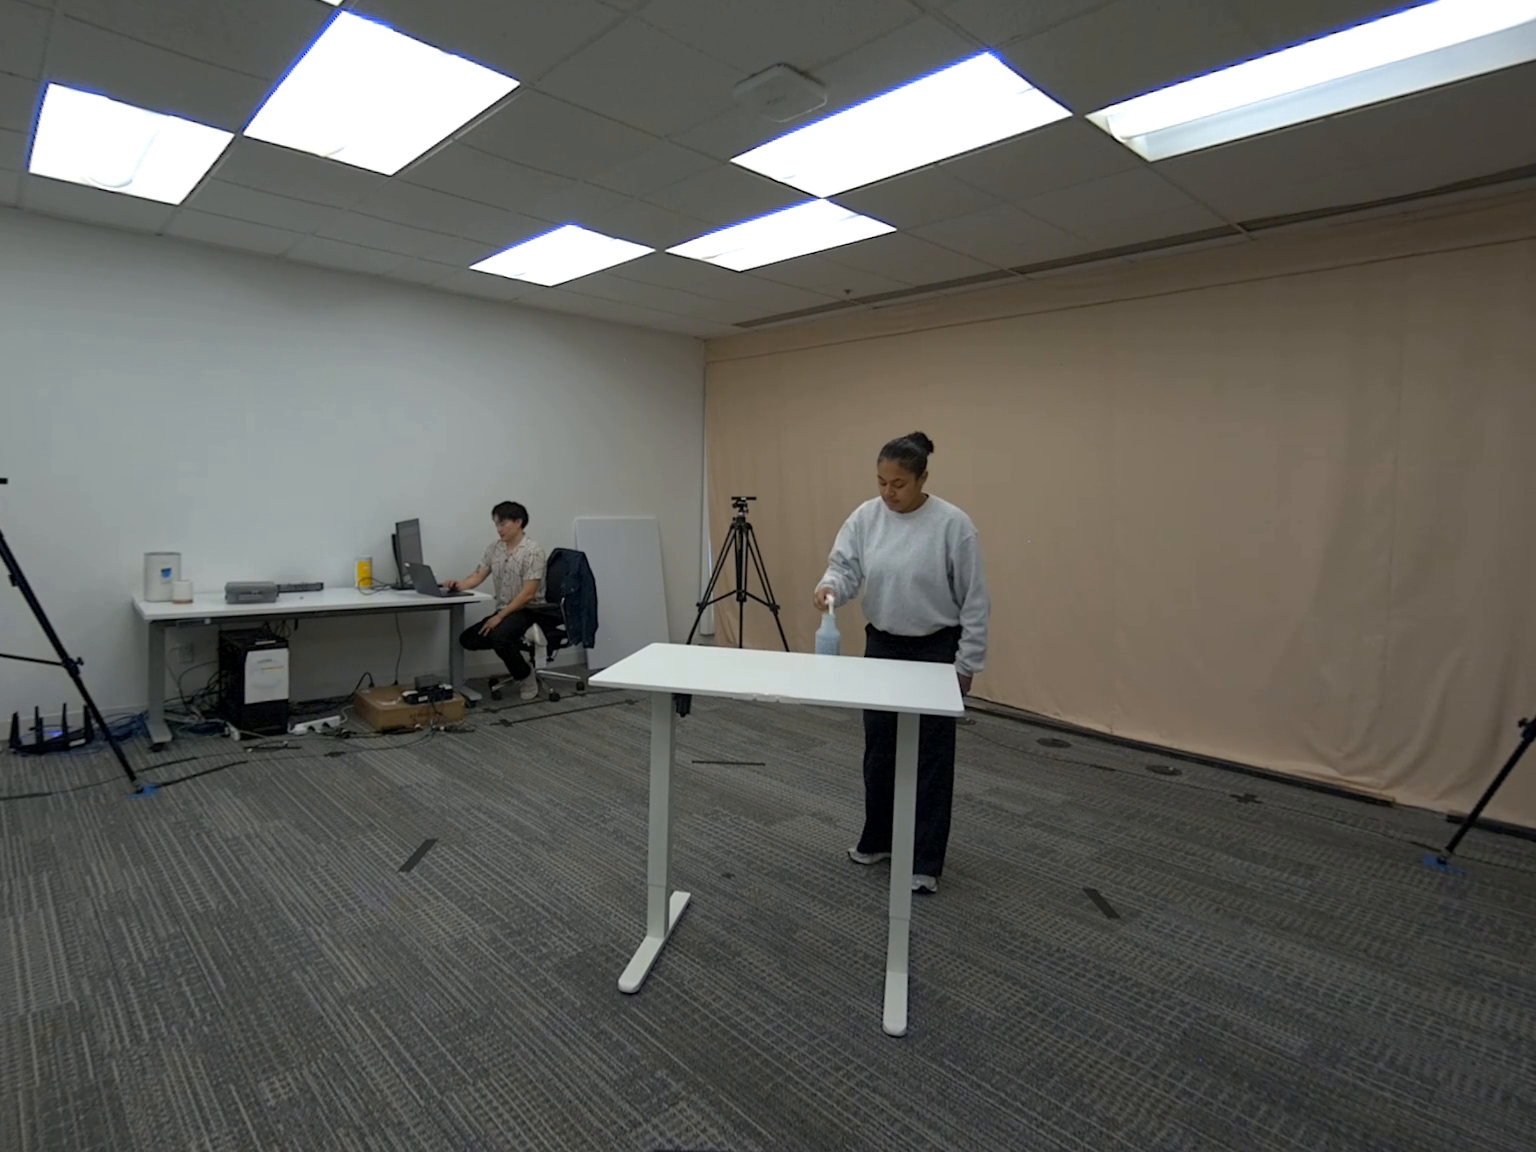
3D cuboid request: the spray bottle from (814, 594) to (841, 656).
[{"bbox_3d":[0.210,0.221,2.929,0.088,0.295,0.089,5,13,20],"label":"spray bottle"}]
